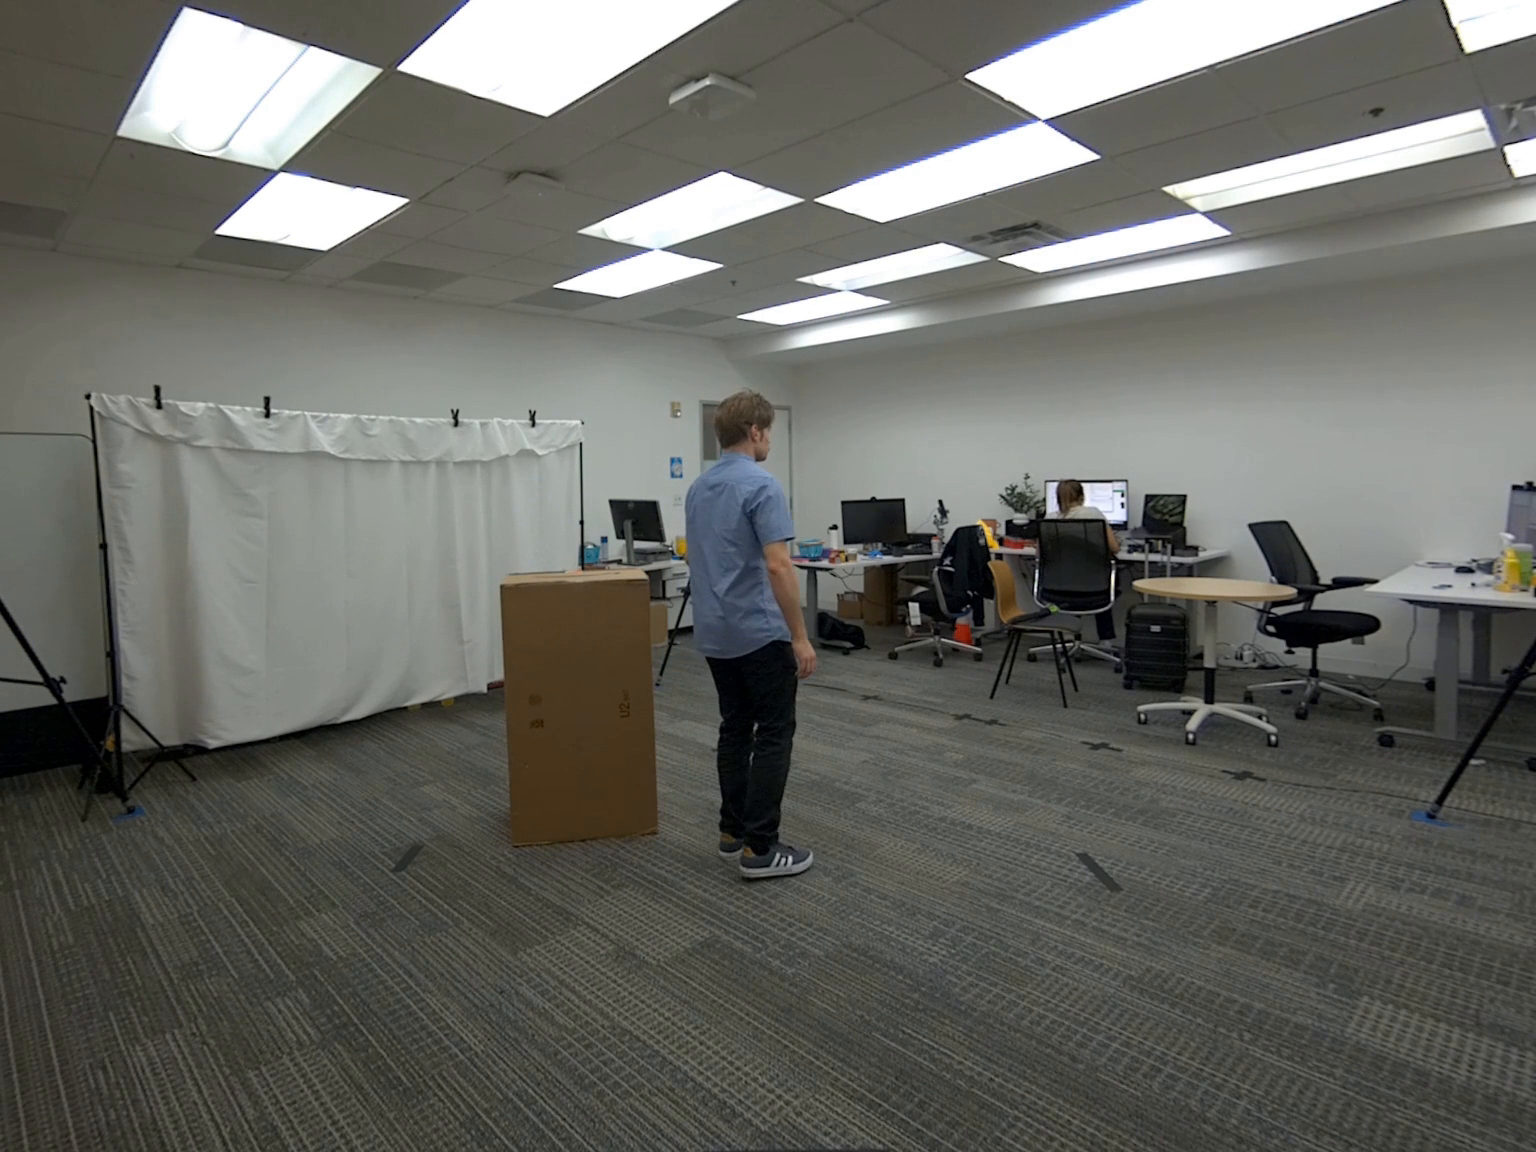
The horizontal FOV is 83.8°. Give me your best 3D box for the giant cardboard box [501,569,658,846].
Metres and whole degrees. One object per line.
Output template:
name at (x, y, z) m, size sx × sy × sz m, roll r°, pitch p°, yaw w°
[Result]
giant cardboard box at (-0.776, 0.508, 3.529) m, size 0.572 × 1.023 × 0.432 m, roll -3°, pitch 3°, yaw -11°
